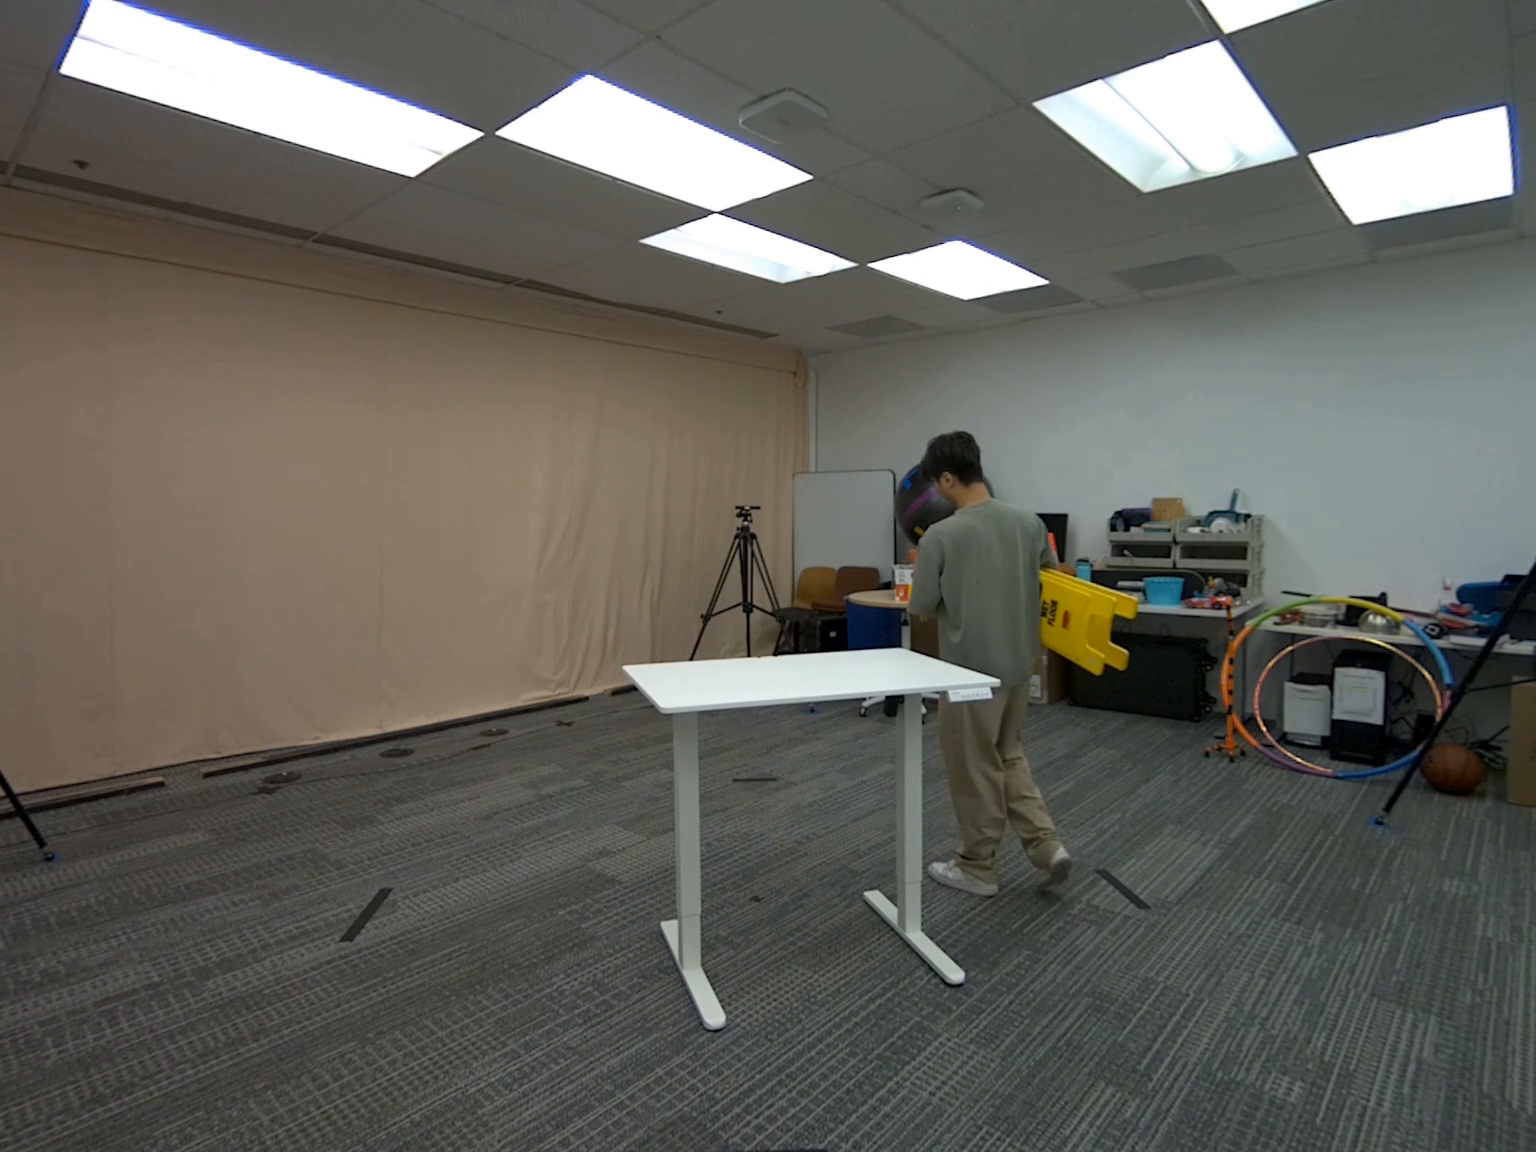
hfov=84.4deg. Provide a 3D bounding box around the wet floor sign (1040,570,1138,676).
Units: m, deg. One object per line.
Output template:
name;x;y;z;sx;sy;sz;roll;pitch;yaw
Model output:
wet floor sign;0.989;0.105;3.034;0.282;0.279;0.669;-7;23;-32
